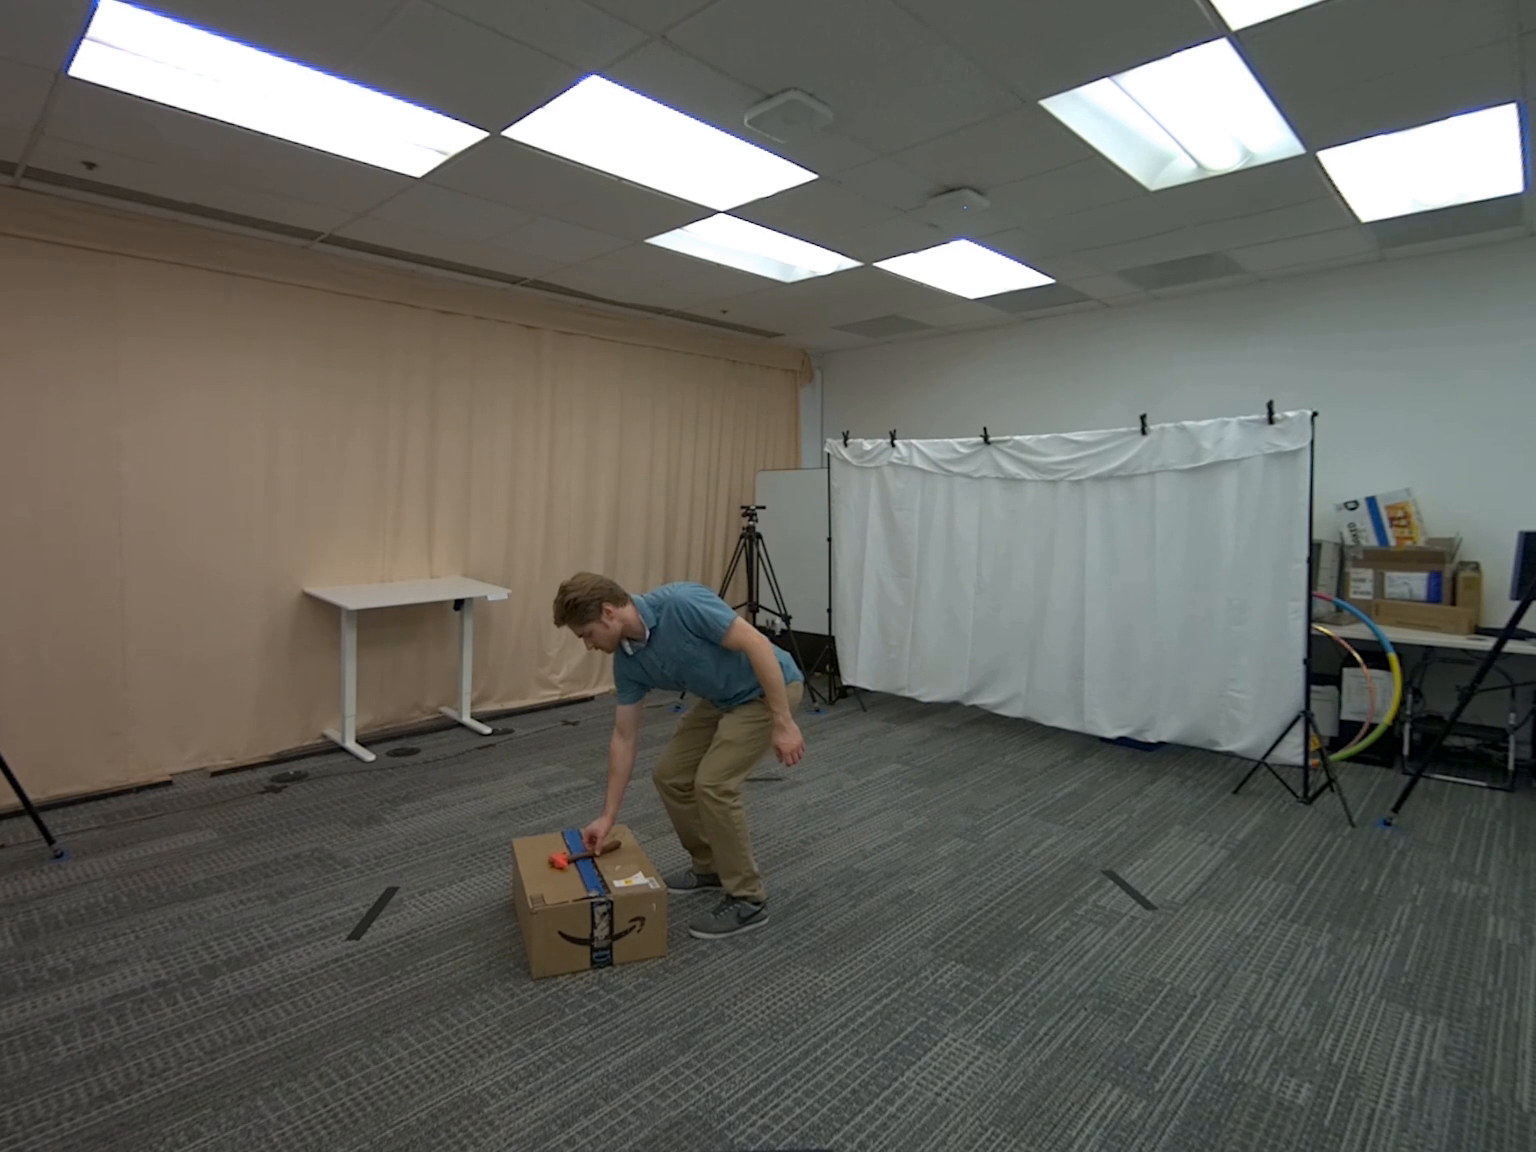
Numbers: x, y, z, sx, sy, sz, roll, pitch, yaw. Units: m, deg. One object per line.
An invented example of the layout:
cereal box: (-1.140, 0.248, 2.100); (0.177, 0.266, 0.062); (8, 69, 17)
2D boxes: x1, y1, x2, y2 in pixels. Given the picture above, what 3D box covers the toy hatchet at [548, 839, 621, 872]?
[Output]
toy hatchet: (-0.627, 0.934, 2.841); (0.135, 0.029, 0.262); (-2, 1, 35)
